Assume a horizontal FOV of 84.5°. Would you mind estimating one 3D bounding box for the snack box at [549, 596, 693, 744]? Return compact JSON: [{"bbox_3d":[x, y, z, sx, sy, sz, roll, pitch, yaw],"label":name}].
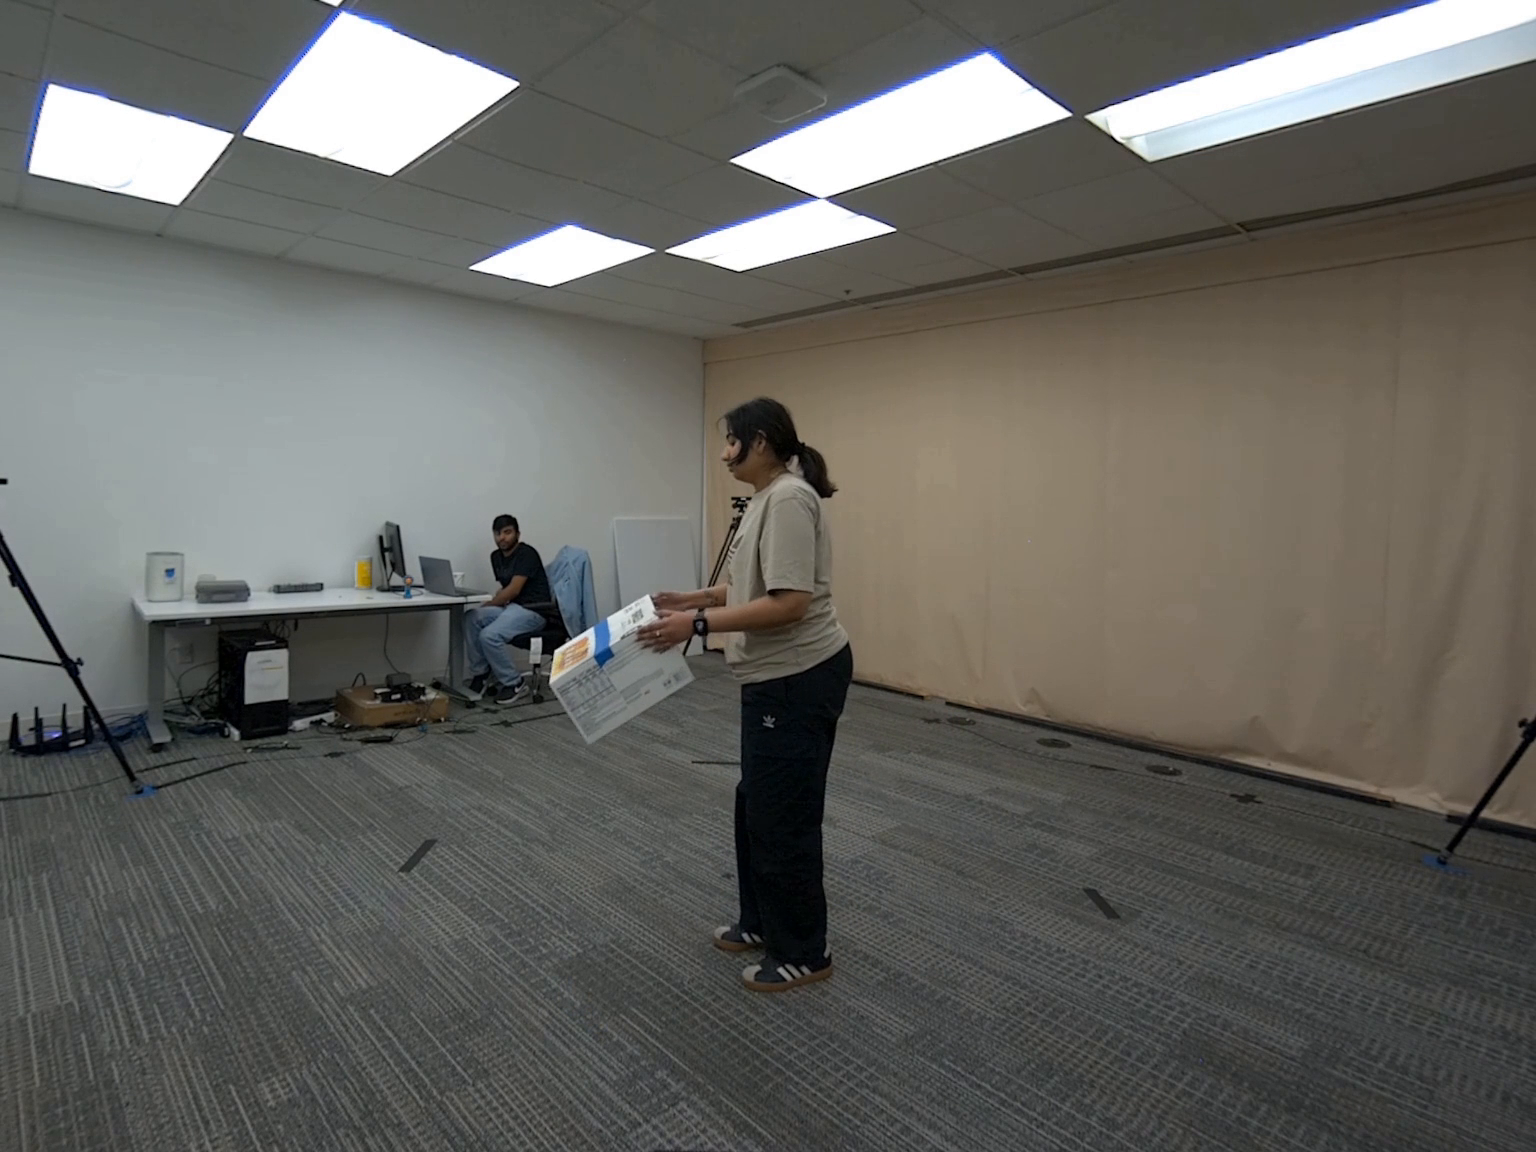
[{"bbox_3d":[-0.429,0.271,2.451,0.340,0.203,0.411,-32,13,-5],"label":"snack box"}]
